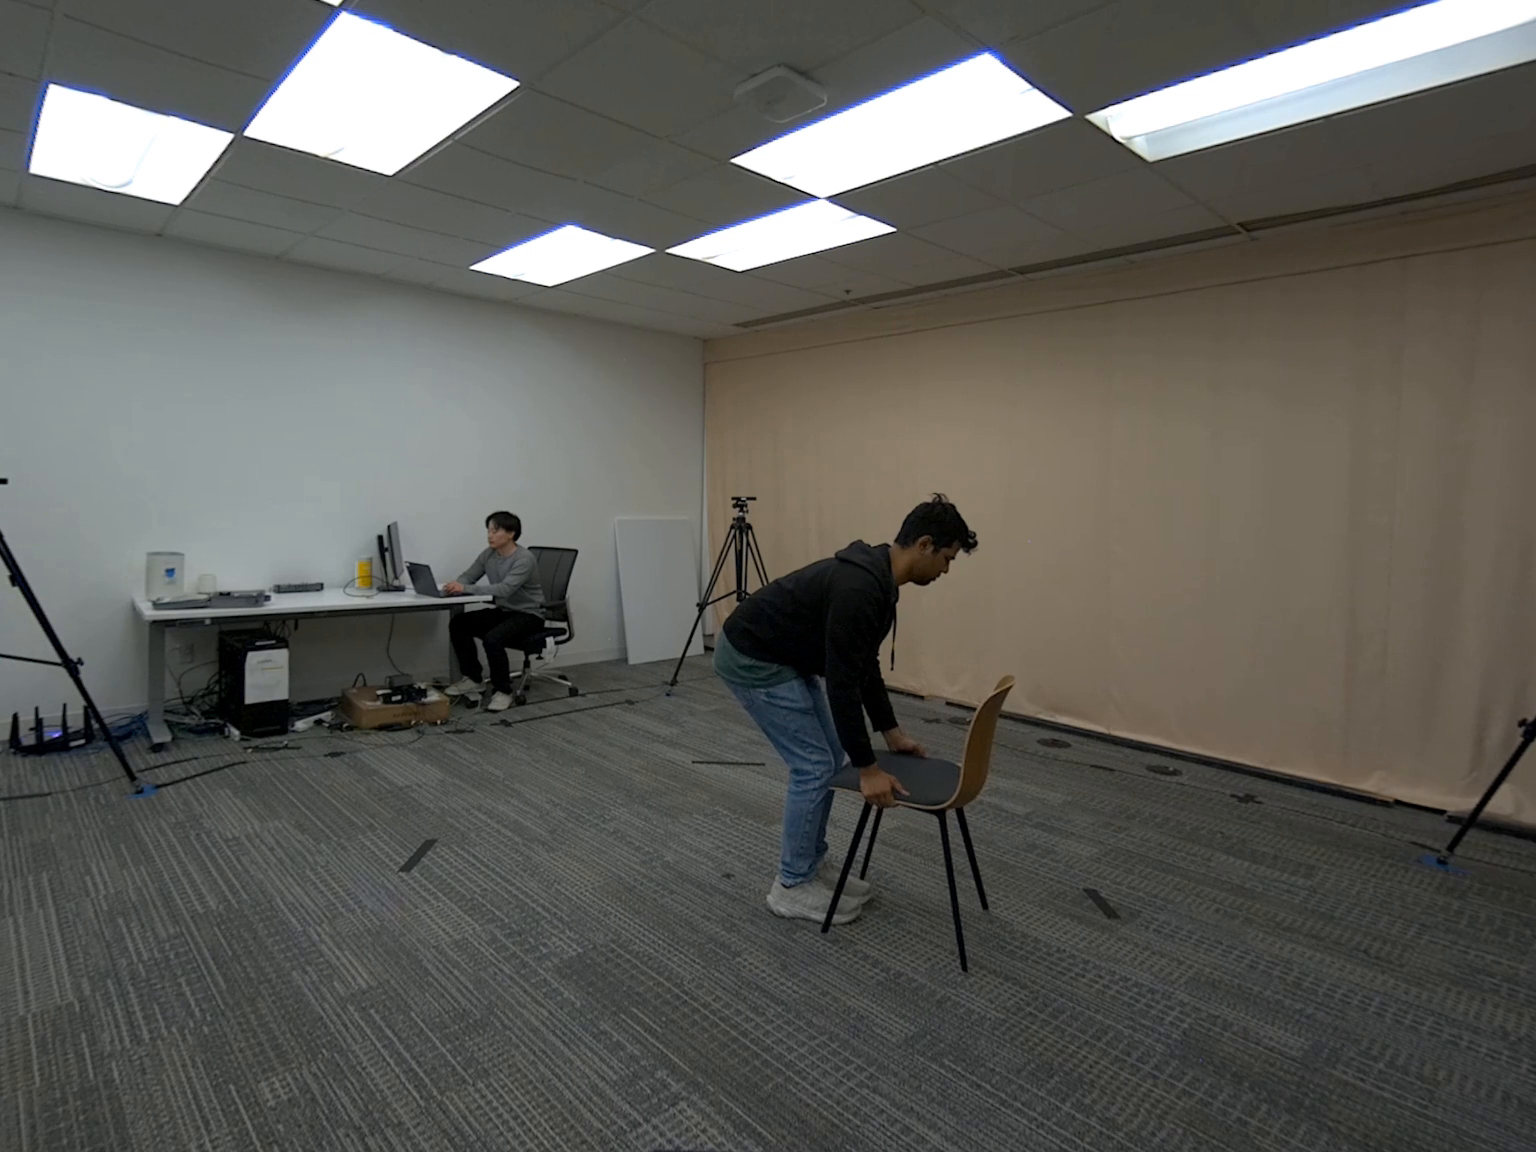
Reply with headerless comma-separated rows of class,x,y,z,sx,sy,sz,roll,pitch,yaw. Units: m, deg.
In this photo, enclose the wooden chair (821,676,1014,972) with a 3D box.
wooden chair,0.473,0.700,2.761,0.534,0.874,0.470,9,6,23
